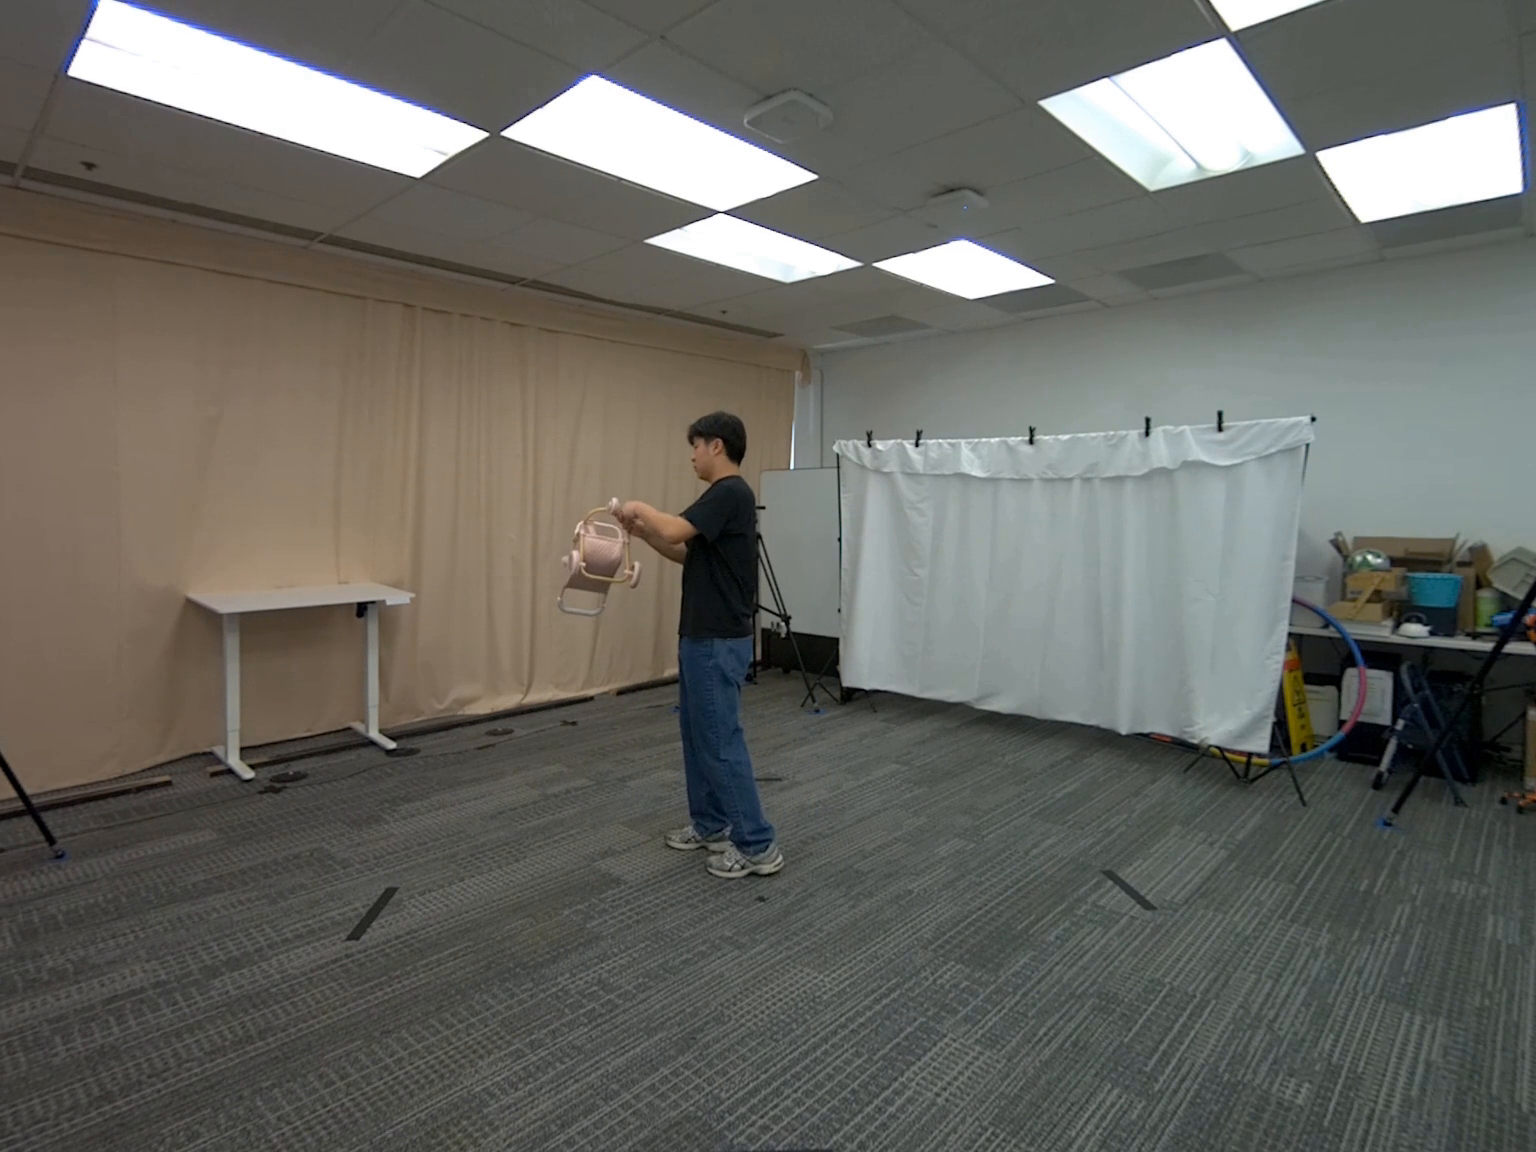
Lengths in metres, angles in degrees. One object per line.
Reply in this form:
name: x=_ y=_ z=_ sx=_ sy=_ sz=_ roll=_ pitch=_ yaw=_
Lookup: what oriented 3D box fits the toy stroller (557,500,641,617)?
toy stroller: x=-0.707 y=-0.072 z=3.471 sx=0.274 sy=0.346 sz=0.541 roll=6 pitch=-23 yaw=-25
